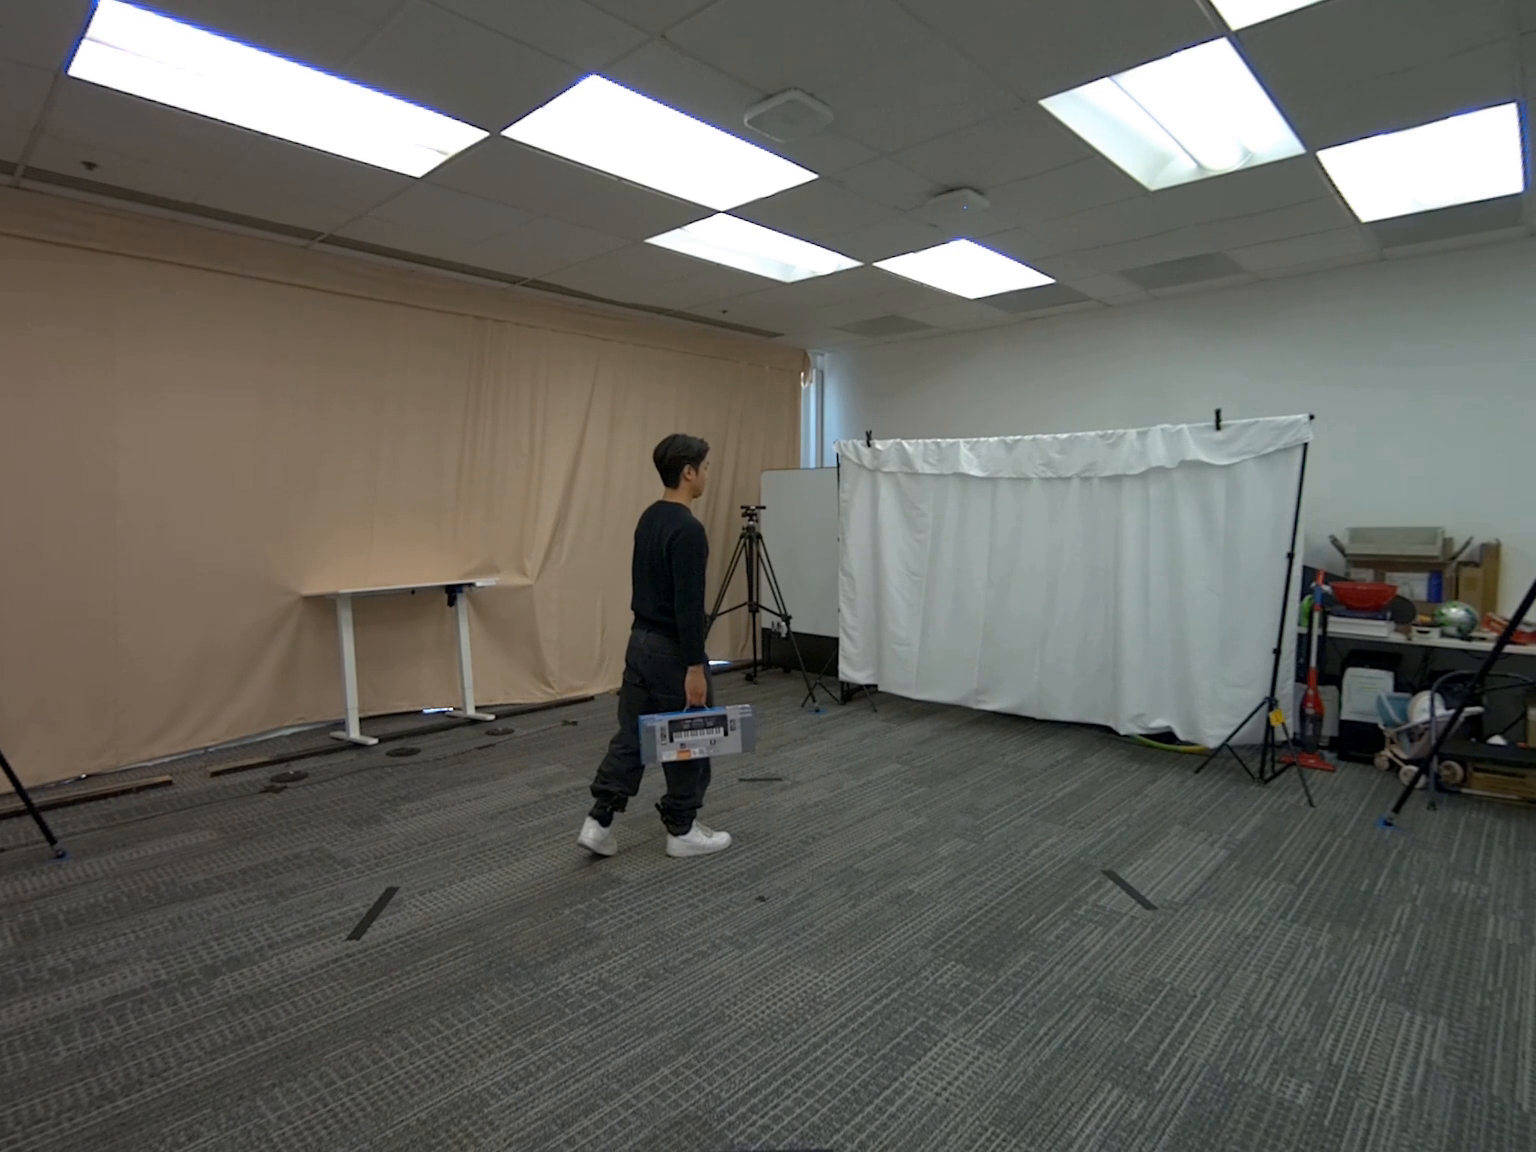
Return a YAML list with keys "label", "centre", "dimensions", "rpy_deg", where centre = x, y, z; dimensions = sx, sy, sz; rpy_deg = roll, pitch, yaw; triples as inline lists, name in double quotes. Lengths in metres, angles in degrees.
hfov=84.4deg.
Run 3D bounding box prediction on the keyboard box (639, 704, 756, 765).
- label: "keyboard box"
  centre: [-0.270, 0.593, 3.178]
  dimensions: [0.431, 0.175, 0.060]
  rpy_deg: [-4, 3, -13]
